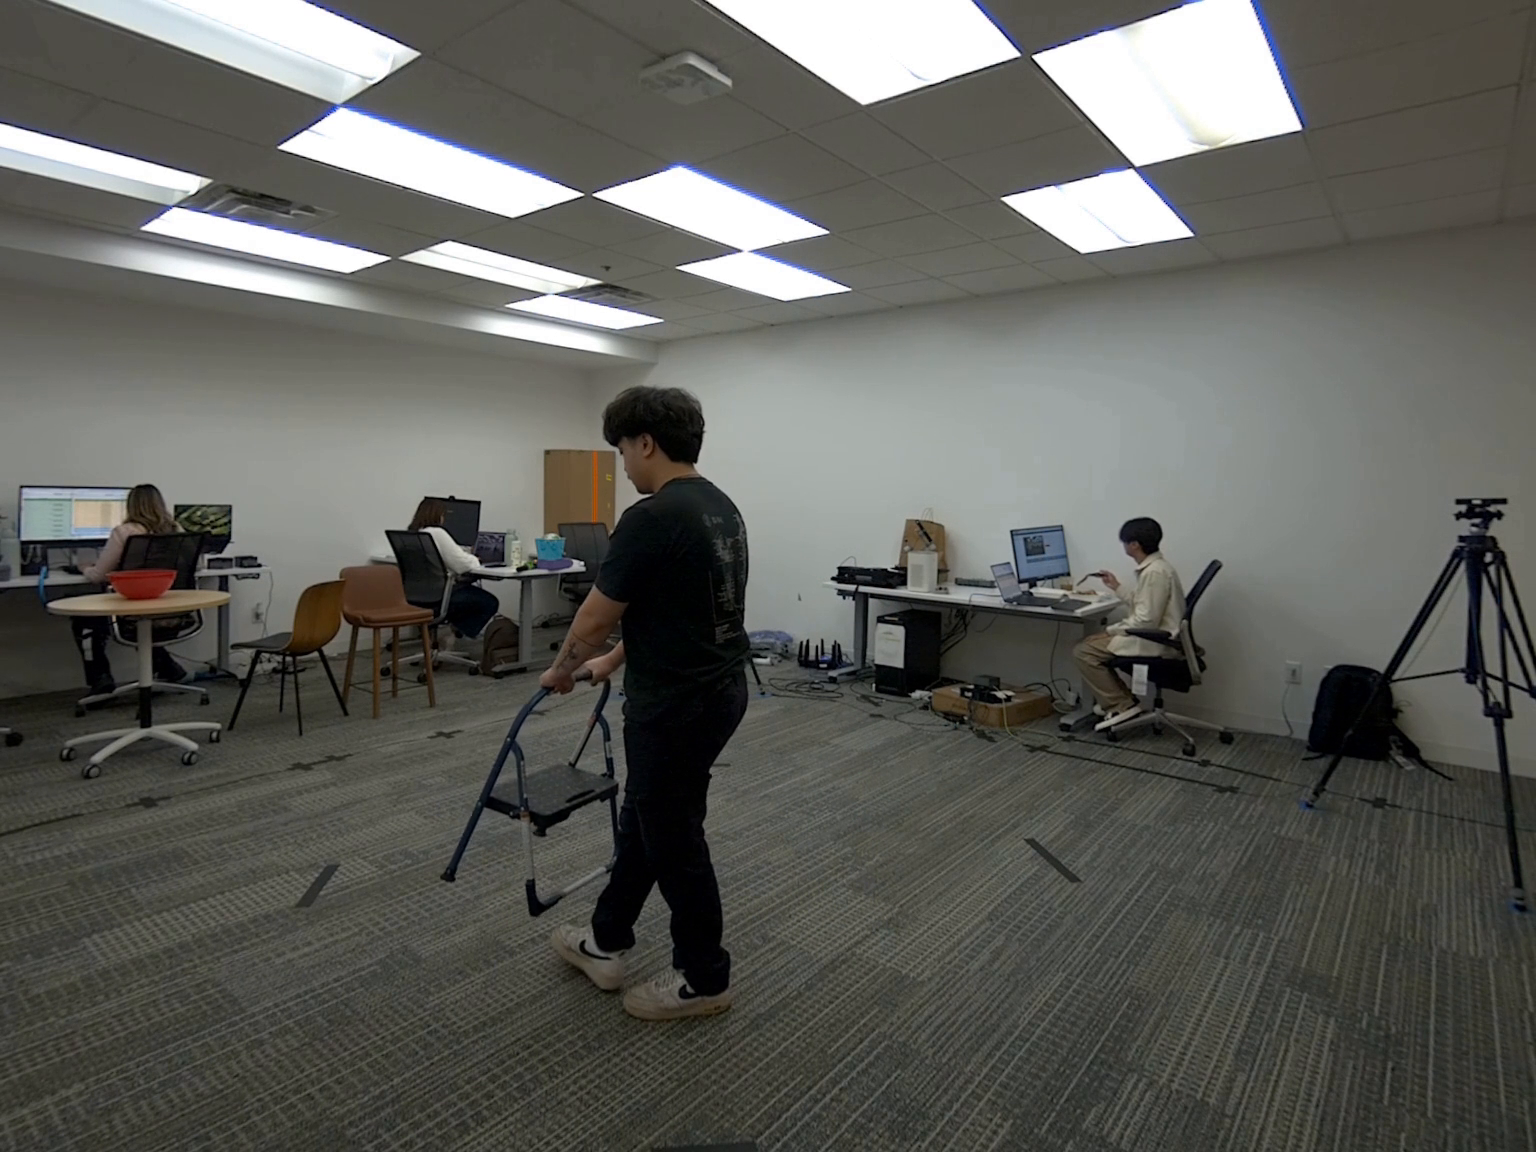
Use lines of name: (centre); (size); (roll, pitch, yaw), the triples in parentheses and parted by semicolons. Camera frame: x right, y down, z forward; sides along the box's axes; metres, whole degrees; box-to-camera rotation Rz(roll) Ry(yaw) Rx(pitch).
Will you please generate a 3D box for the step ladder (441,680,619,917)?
step ladder: (-0.651, 0.571, 2.466); (0.359, 0.604, 0.420); (8, 4, 26)
